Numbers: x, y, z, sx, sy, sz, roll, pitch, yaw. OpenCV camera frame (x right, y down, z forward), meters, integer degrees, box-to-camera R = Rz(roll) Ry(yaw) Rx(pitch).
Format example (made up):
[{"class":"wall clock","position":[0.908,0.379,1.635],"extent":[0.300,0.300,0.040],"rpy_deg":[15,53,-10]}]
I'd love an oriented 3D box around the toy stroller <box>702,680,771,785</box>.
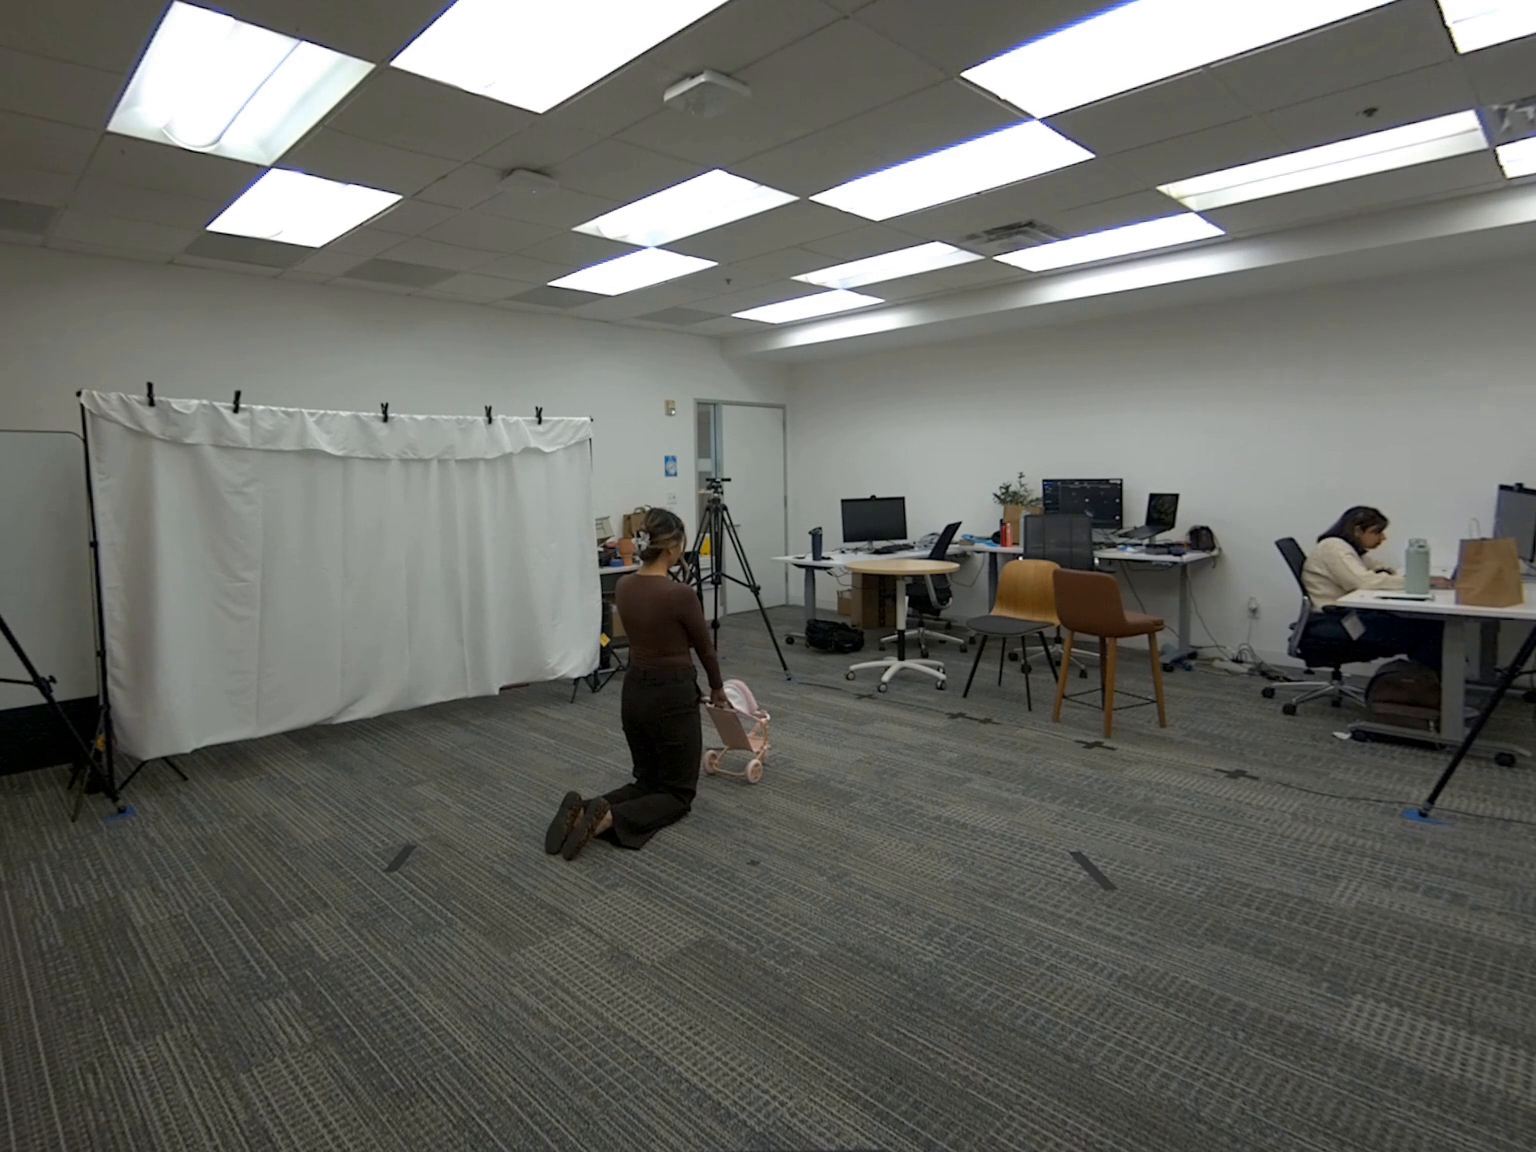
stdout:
[{"class":"toy stroller","position":[-0.136,0.718,4.031],"extent":[0.290,0.525,0.337],"rpy_deg":[3,23,39]}]
